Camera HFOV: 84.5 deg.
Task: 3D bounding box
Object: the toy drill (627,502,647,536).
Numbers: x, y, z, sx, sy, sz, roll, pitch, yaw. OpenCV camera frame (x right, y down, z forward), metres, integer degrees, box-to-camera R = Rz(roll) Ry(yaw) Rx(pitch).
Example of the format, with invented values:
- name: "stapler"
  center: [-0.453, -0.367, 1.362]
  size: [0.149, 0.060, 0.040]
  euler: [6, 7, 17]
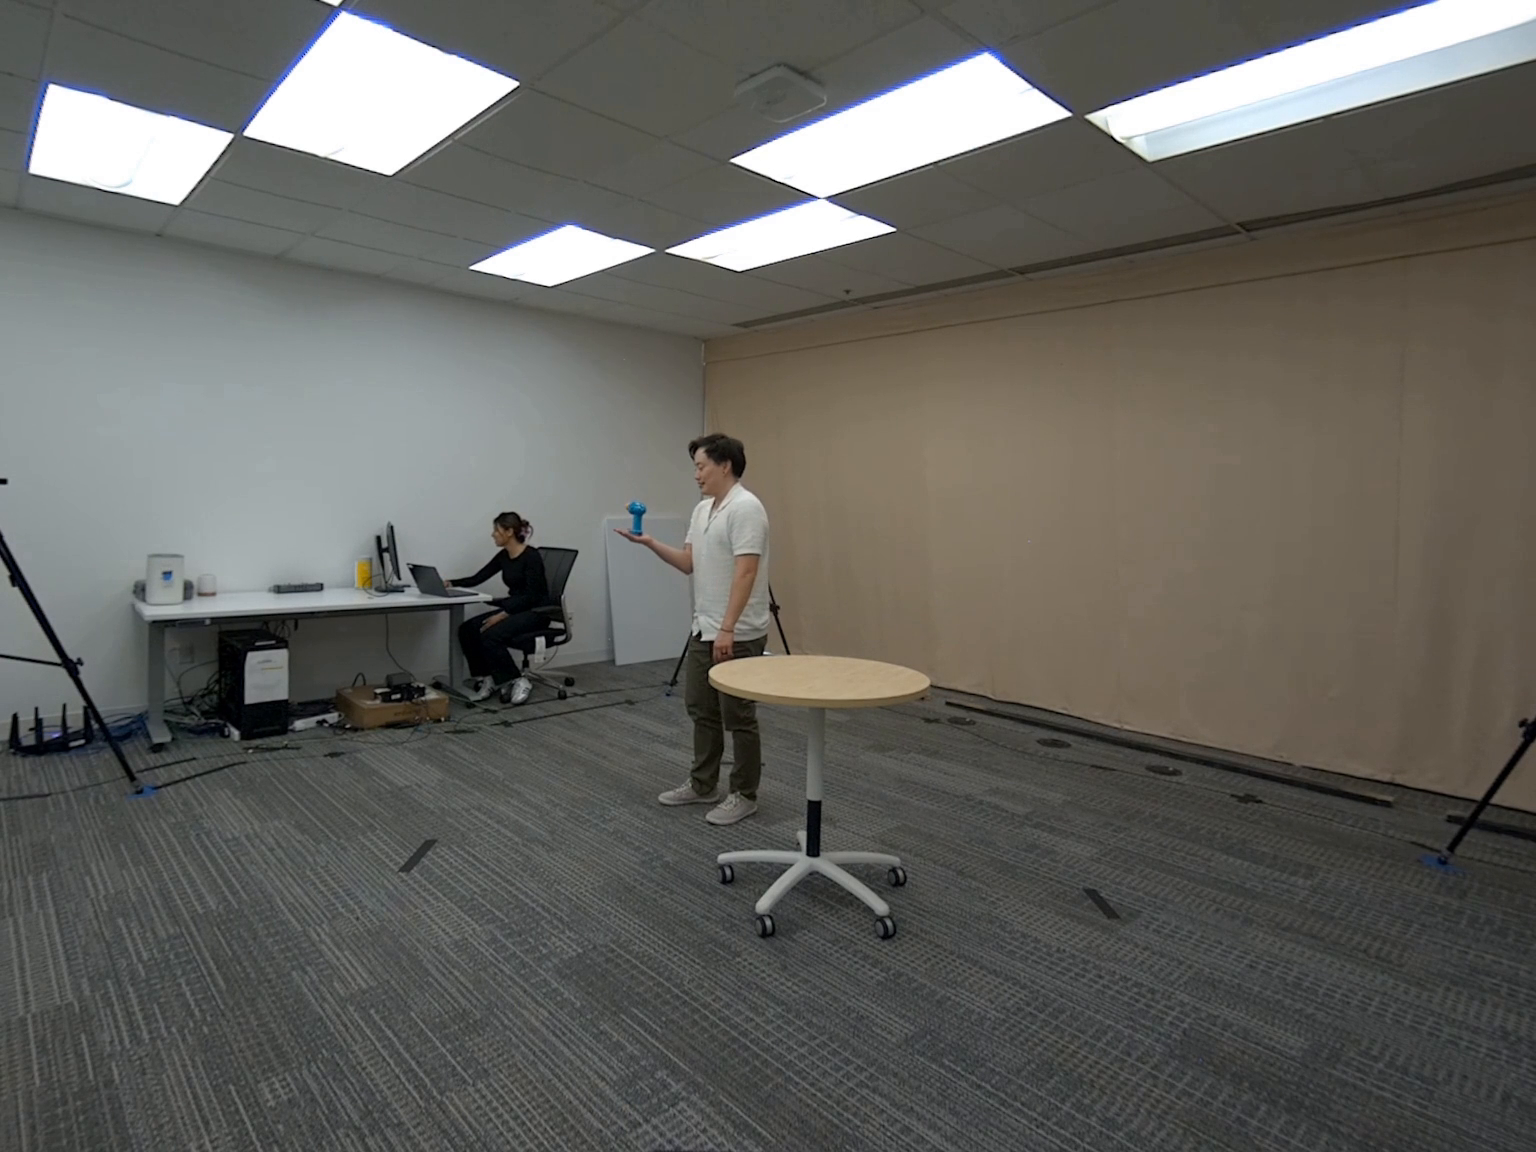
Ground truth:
- name: "toy drill"
  center: [-0.591, -0.259, 3.689]
  size: [0.060, 0.145, 0.174]
  euler: [-1, 12, -33]
